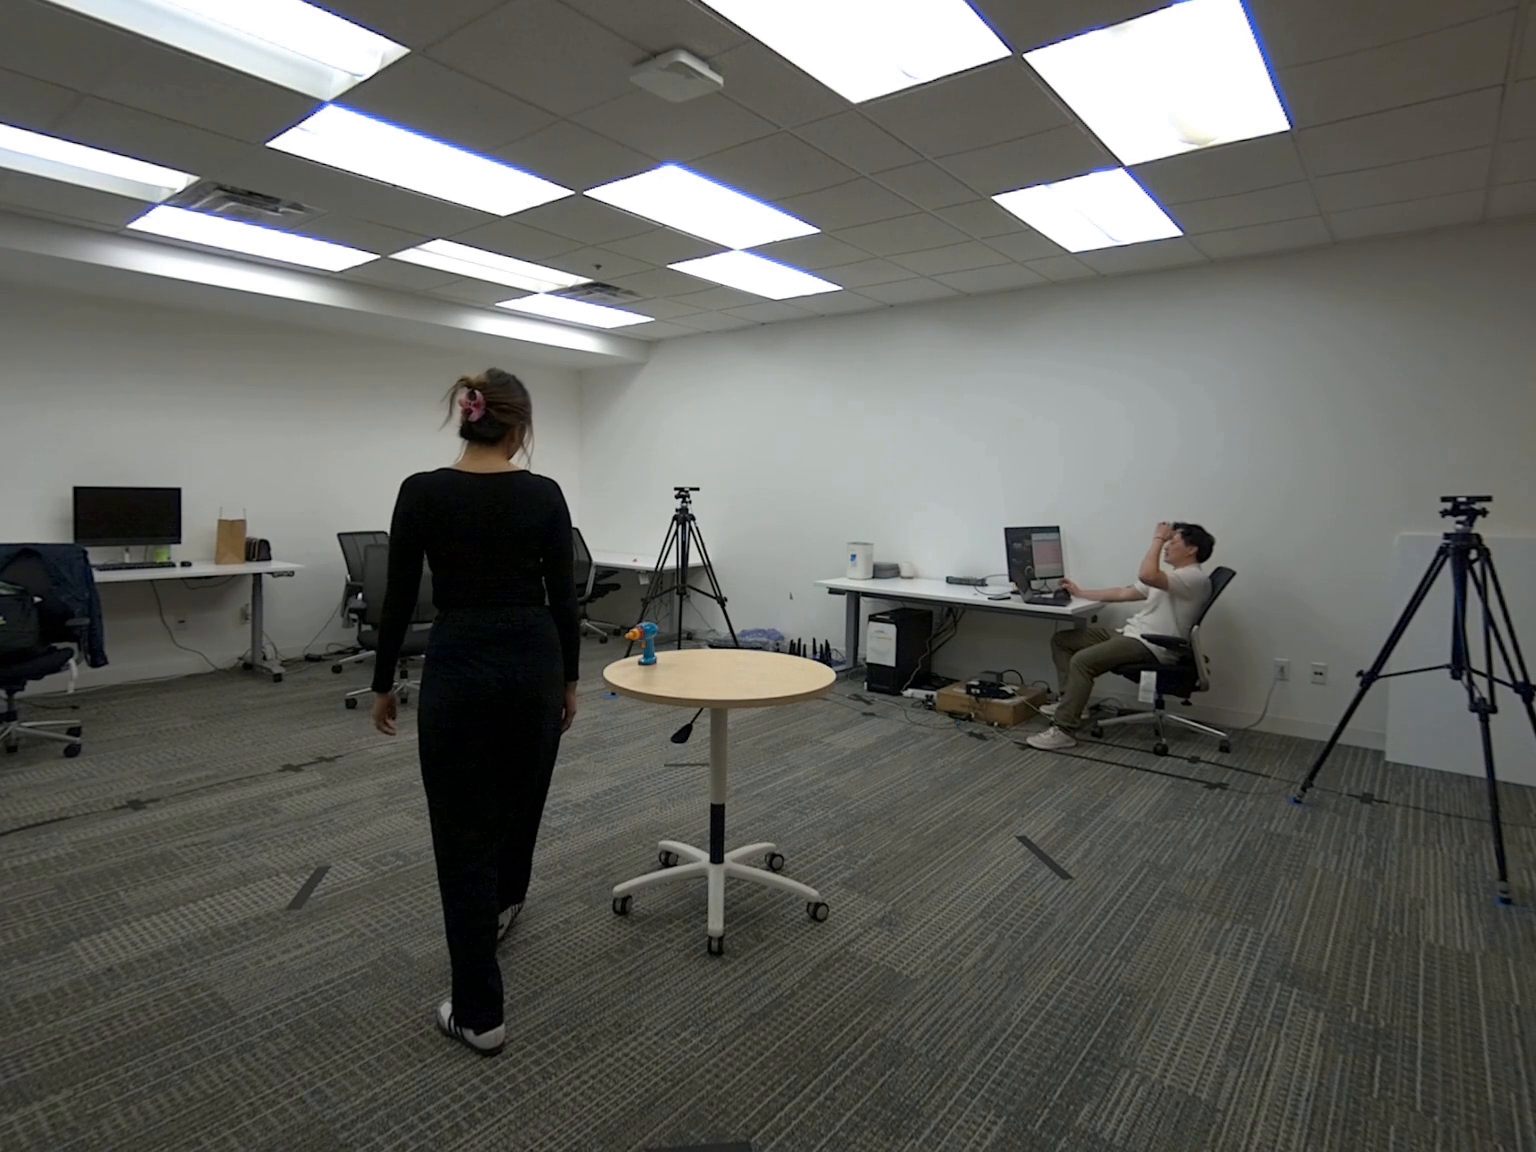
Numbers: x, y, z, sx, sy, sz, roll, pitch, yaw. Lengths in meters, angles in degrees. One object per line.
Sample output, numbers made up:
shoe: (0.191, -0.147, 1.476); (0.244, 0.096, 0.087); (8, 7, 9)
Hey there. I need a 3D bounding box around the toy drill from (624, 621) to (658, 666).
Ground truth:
toy drill: (-0.441, 0.231, 2.888); (0.063, 0.145, 0.166); (3, 6, 29)
